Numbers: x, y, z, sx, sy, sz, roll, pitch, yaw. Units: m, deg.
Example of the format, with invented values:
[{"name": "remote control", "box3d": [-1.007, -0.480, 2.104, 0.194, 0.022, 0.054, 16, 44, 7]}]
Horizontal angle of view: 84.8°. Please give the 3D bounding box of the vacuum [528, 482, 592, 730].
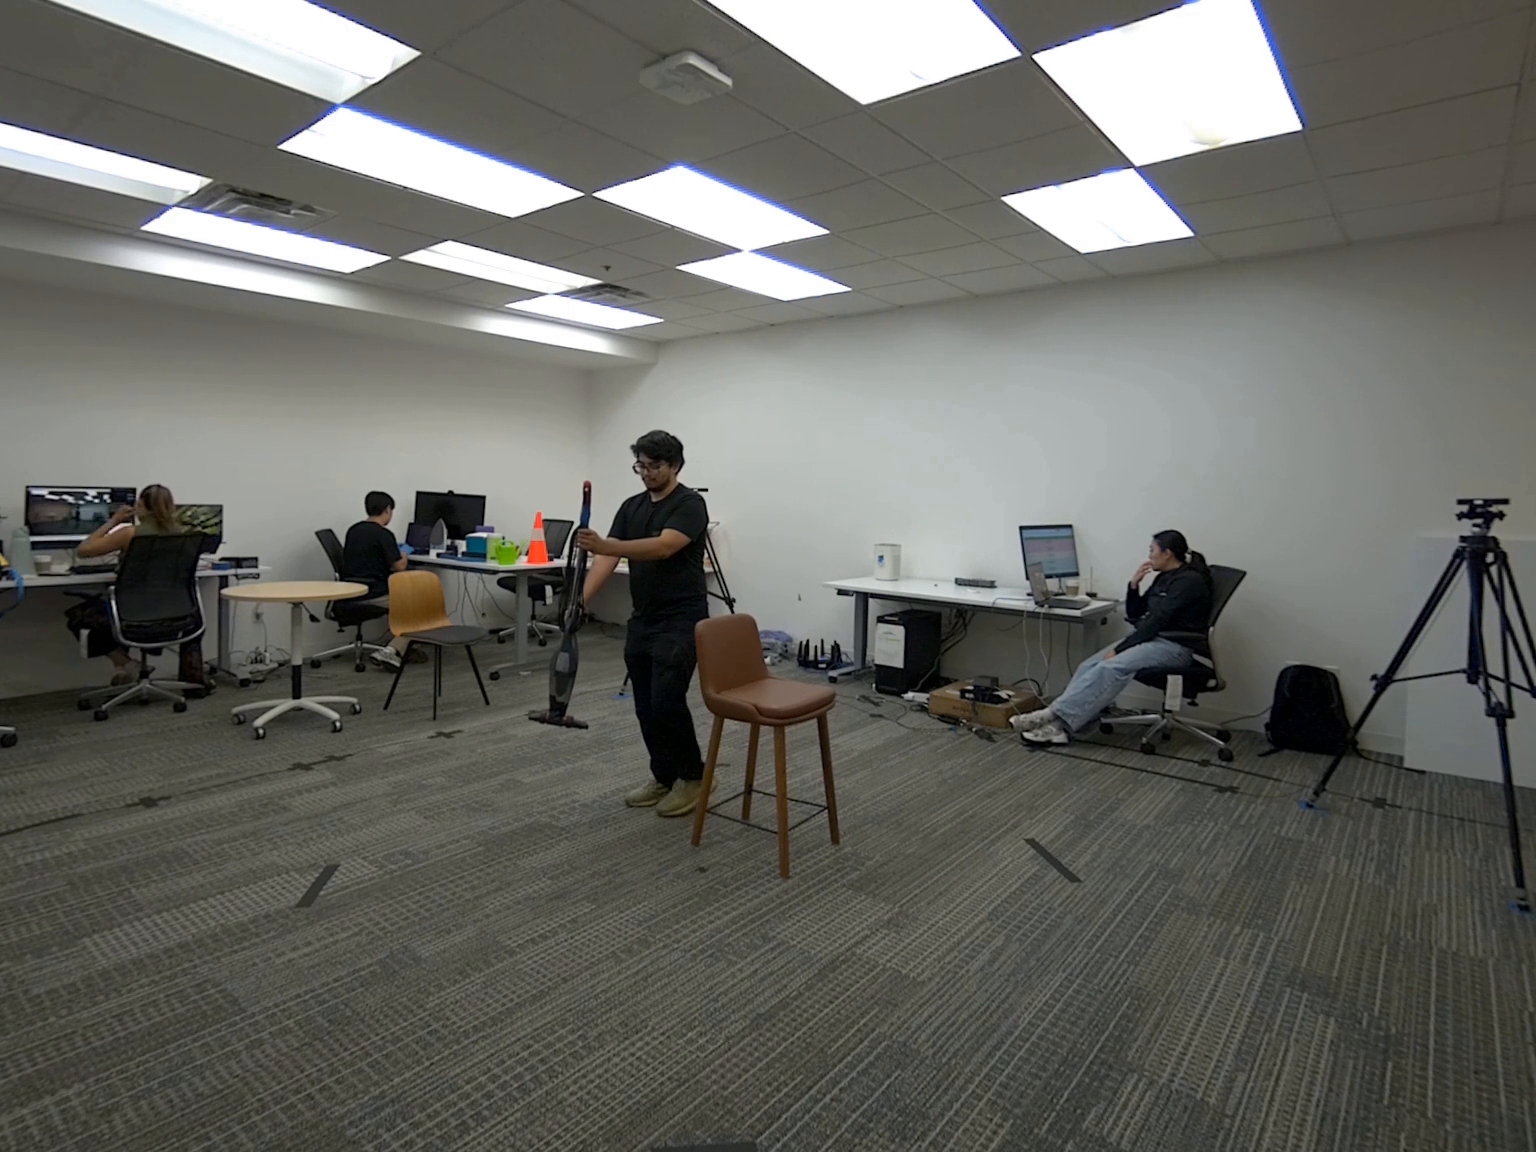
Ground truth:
[{"name": "vacuum", "box3d": [-0.798, 0.132, 3.378, 0.253, 1.035, 0.146, 11, 18, -1]}]
